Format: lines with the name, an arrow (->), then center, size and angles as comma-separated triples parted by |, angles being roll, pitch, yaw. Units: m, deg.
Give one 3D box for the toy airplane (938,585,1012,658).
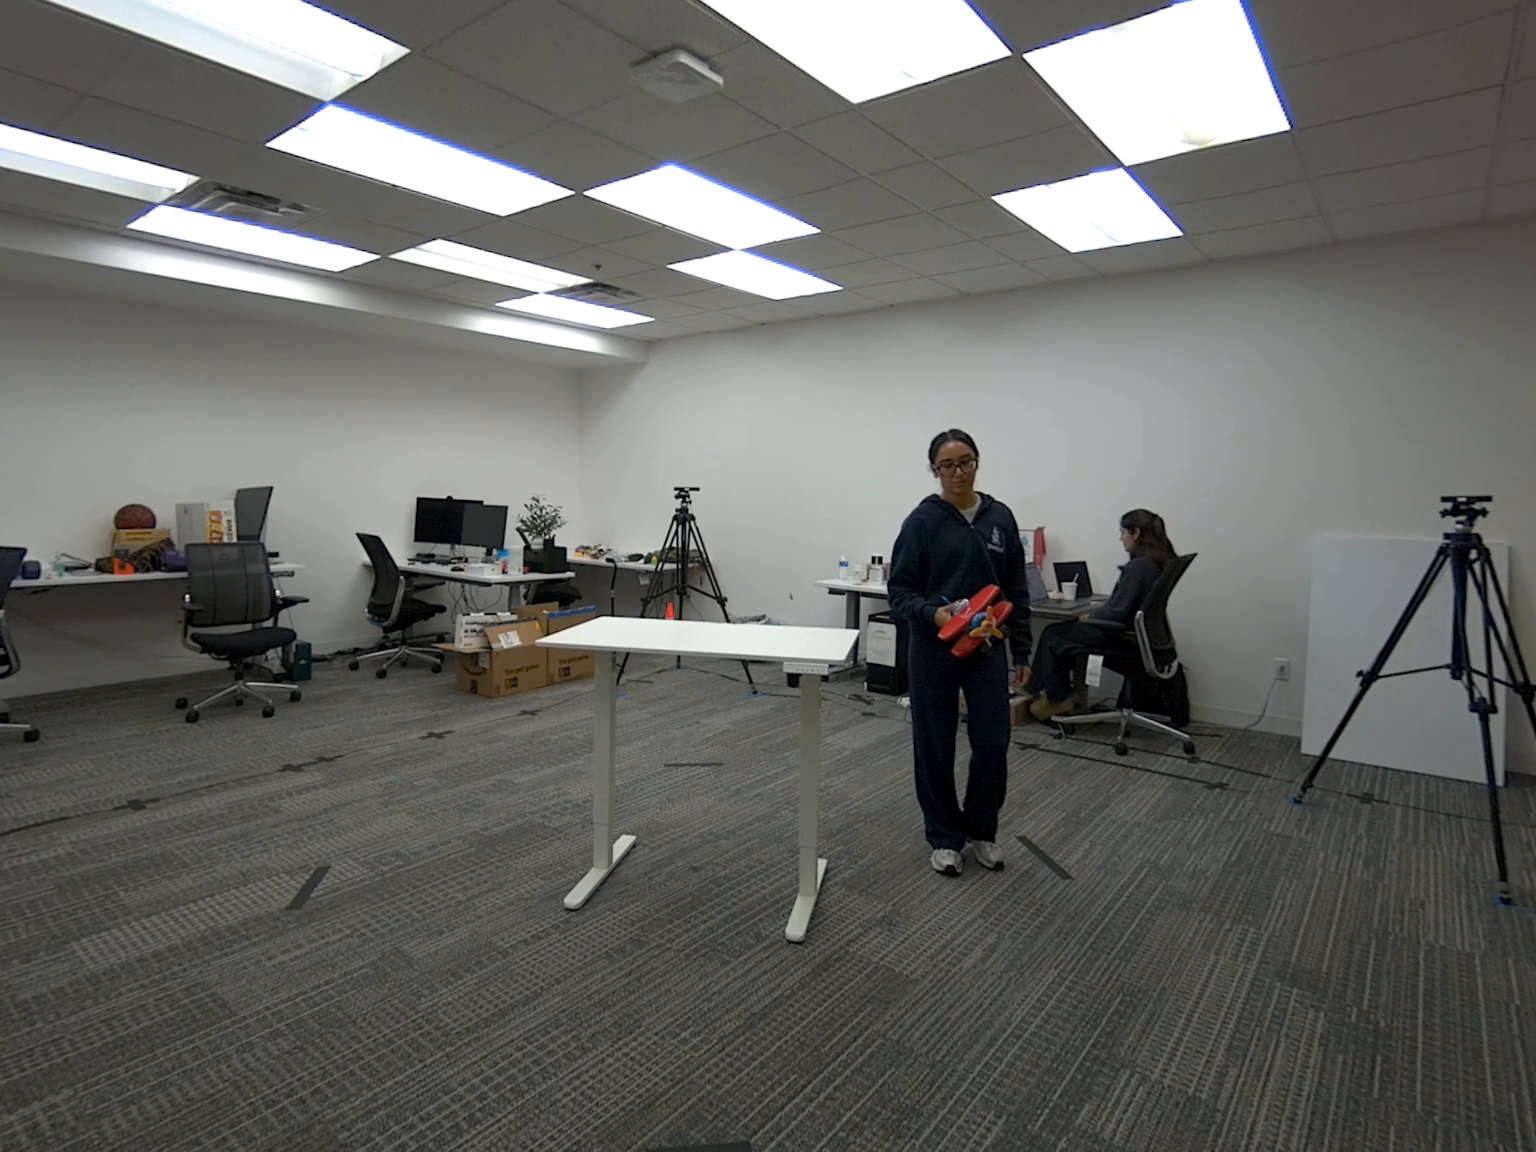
toy airplane -> 0.675, 0.158, 2.878 | 0.267, 0.252, 0.151 | -3, -44, 47
